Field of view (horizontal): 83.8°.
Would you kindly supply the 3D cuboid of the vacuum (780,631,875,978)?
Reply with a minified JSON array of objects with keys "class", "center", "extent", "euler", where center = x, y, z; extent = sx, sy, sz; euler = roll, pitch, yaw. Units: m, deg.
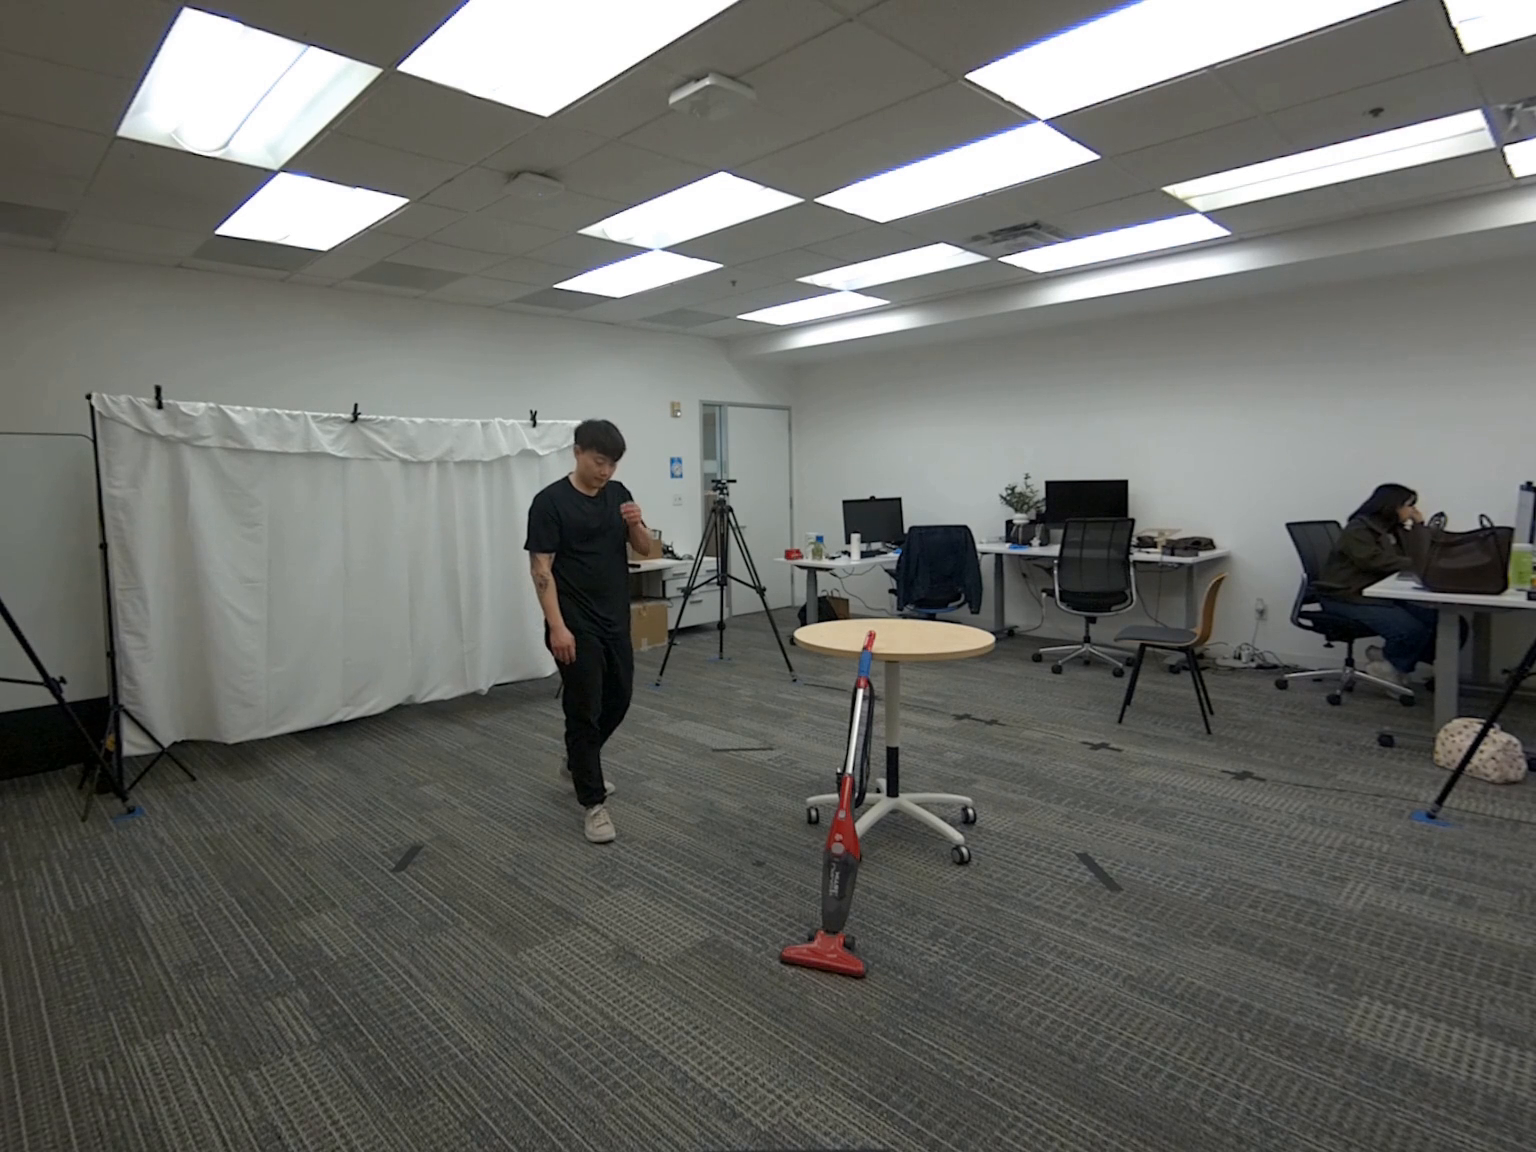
[{"class":"vacuum","center":[0.271,0.661,2.752],"extent":[0.258,1.067,0.138],"euler":[-1,-33,22]}]
